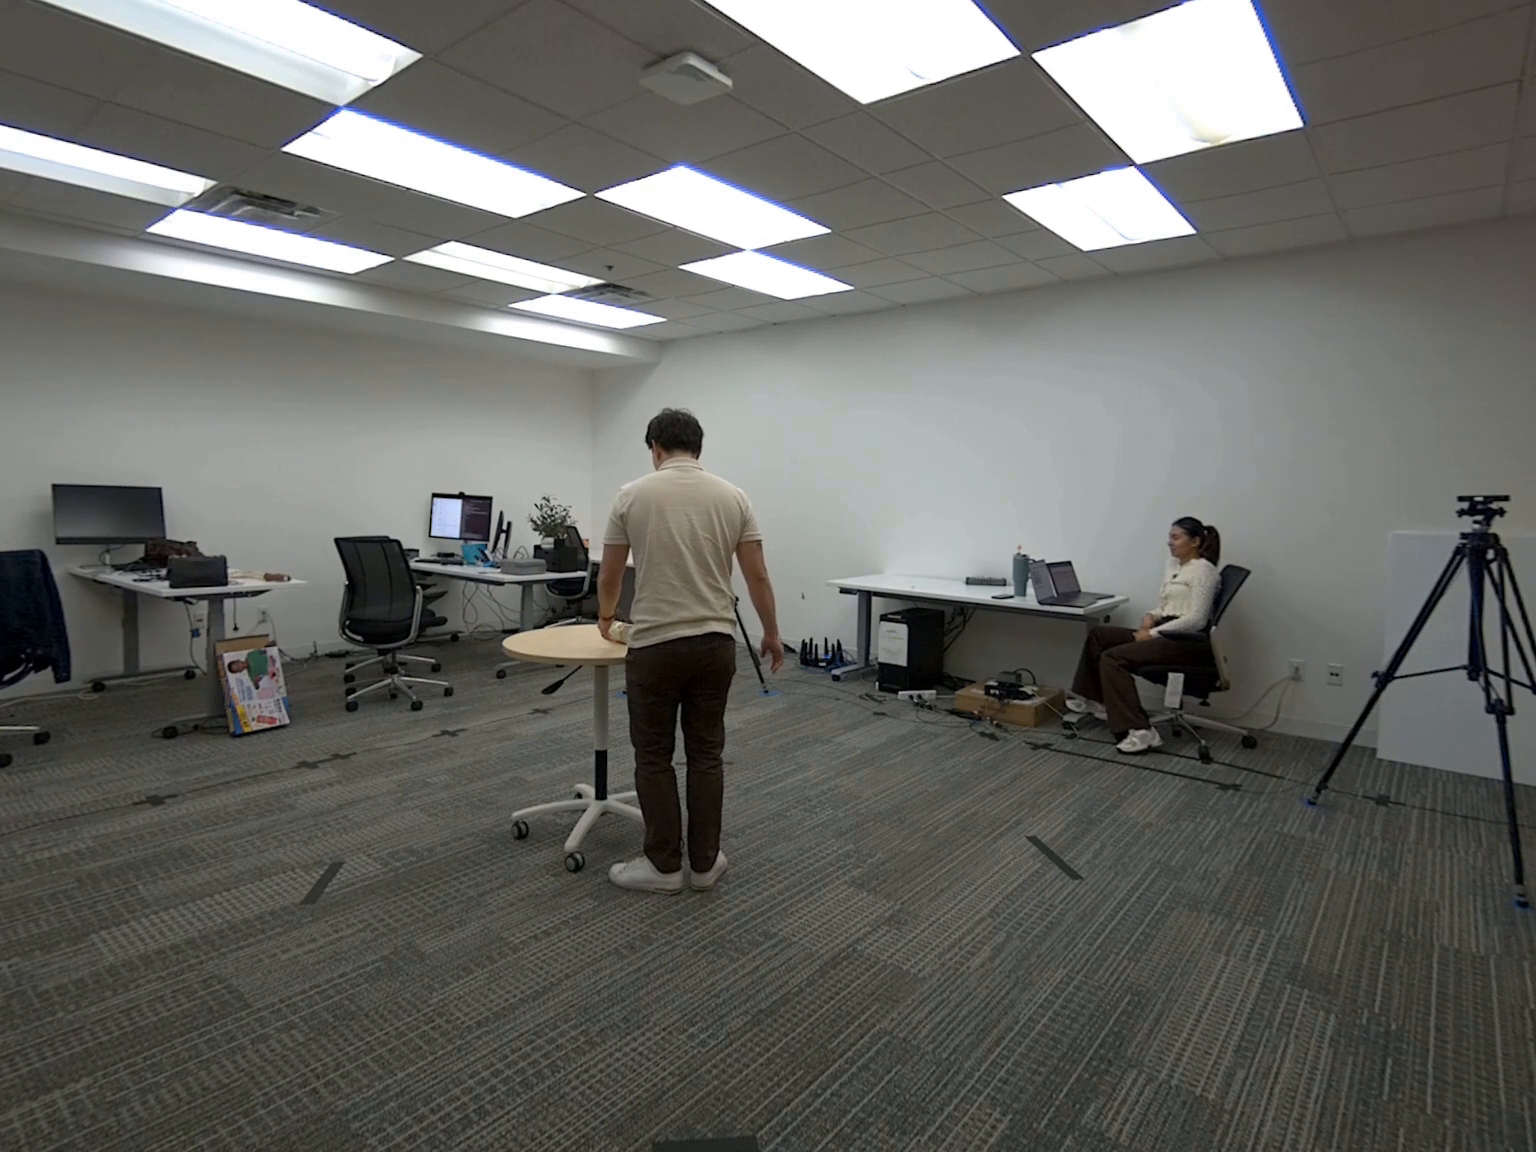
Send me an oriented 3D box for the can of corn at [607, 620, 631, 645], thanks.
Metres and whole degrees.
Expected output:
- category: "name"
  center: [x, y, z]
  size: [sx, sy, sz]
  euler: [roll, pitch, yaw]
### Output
- category: "can of corn"
  center: [-0.578, 0.215, 3.319]
  size: [0.072, 0.074, 0.114]
  euler: [-2, 5, -33]
